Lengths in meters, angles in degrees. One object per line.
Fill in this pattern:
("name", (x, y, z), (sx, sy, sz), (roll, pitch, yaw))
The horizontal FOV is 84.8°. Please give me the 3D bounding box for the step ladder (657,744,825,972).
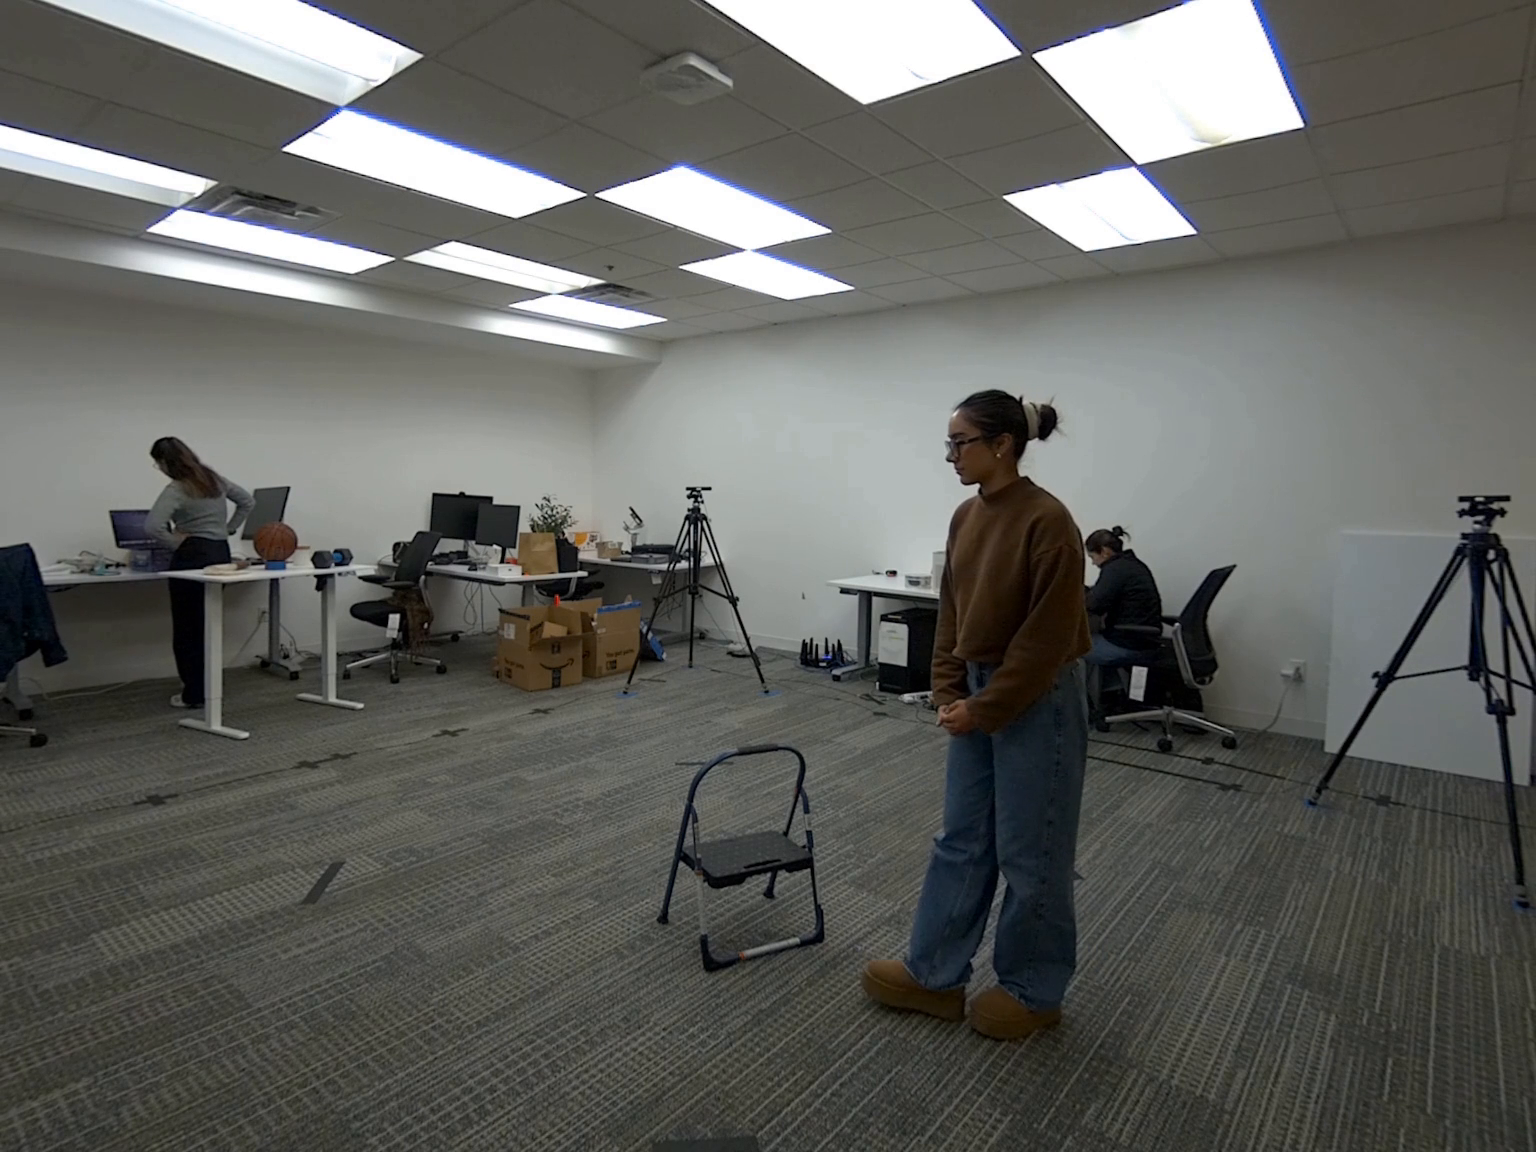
("step ladder", (-0.090, 0.808, 2.664), (0.419, 0.604, 0.360), (-1, 4, -30))
